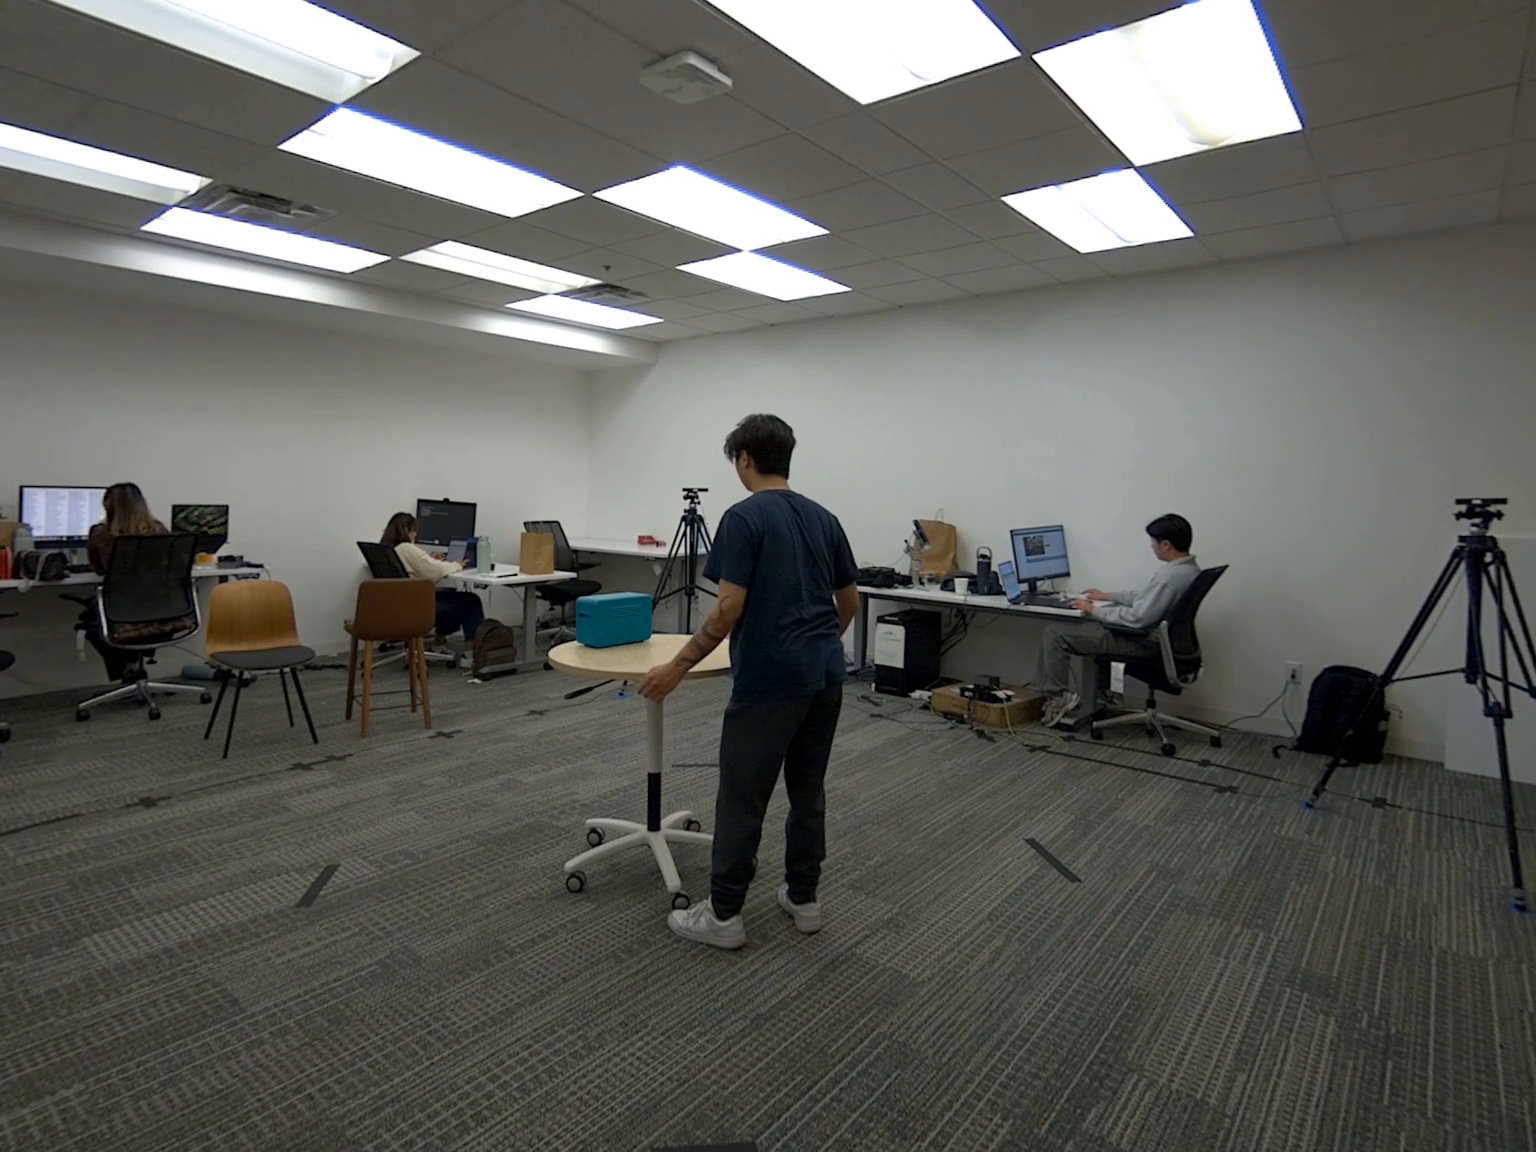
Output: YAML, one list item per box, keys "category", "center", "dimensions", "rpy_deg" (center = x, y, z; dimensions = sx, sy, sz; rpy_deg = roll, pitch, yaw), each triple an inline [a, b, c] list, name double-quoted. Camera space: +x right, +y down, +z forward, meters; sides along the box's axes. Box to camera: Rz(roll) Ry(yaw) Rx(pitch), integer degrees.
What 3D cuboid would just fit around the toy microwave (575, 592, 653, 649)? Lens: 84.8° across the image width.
- category: "toy microwave"
  center: [-0.604, 0.163, 3.245]
  dimensions: [0.157, 0.183, 0.278]
  rpy_deg: [4, 6, 42]
